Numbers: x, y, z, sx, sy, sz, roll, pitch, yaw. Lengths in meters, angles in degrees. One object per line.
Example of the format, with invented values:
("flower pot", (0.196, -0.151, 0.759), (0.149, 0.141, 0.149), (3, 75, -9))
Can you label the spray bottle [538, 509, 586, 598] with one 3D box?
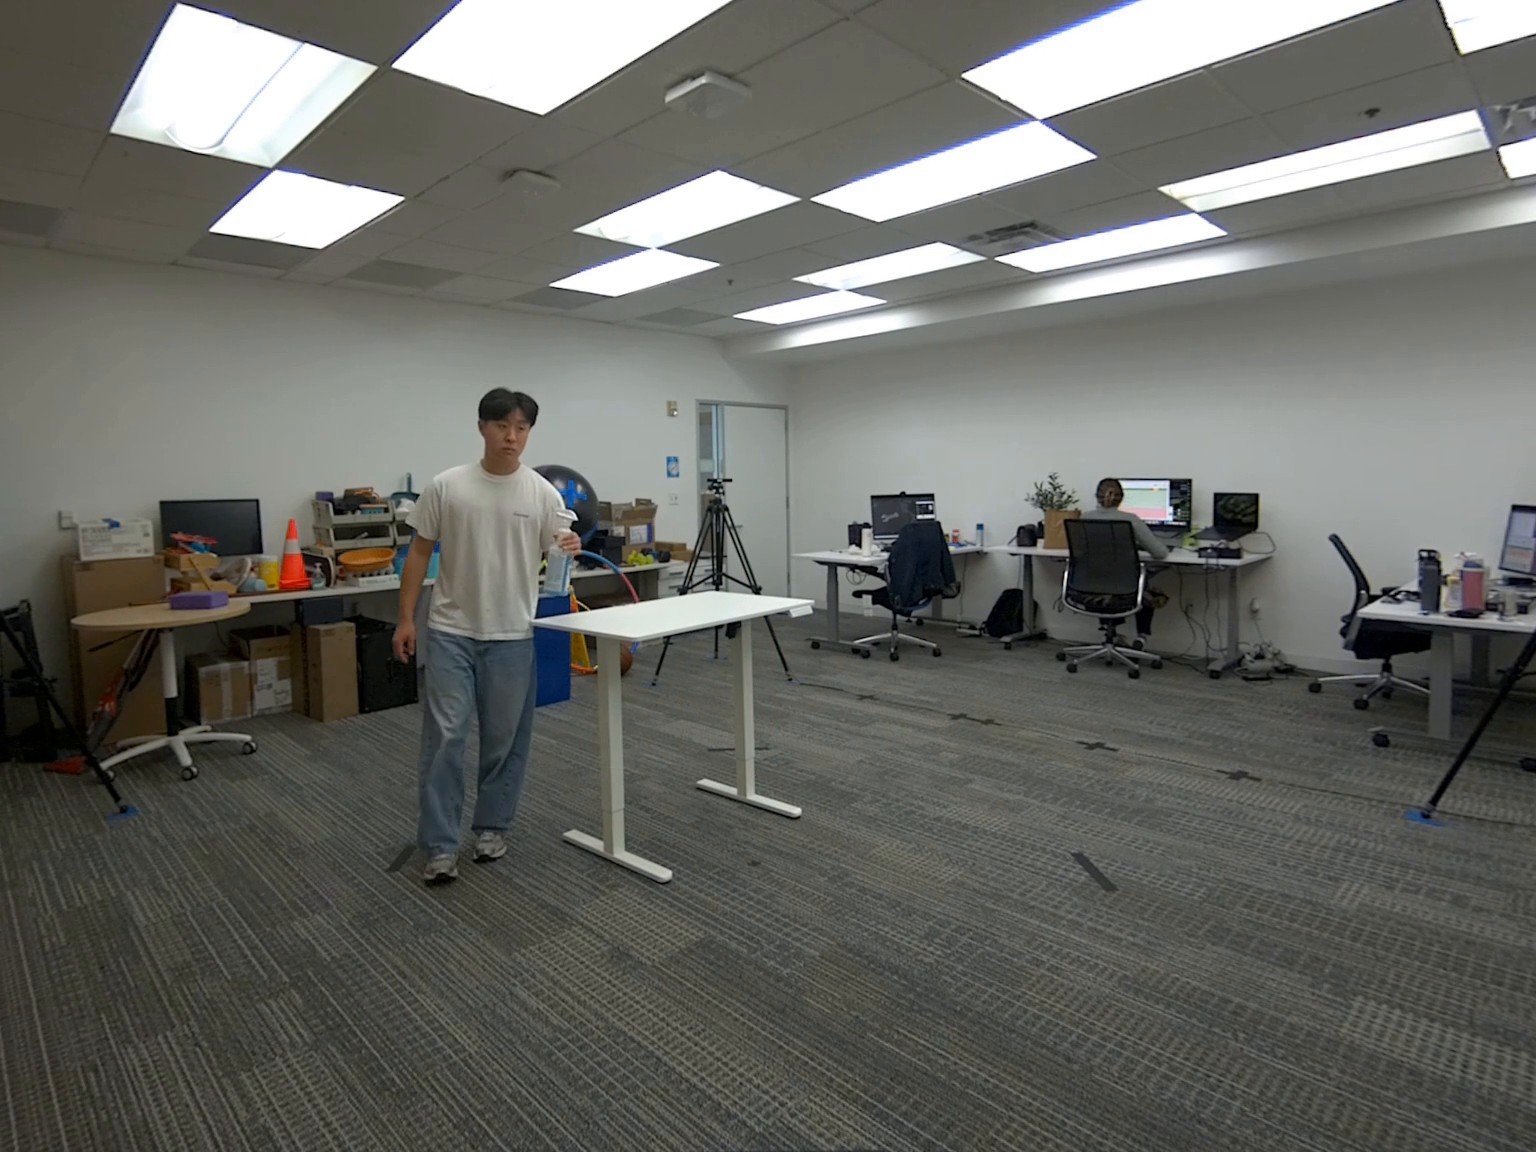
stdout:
("spray bottle", (-0.714, -0.083, 2.960), (0.093, 0.297, 0.084), (9, 1, 43))
